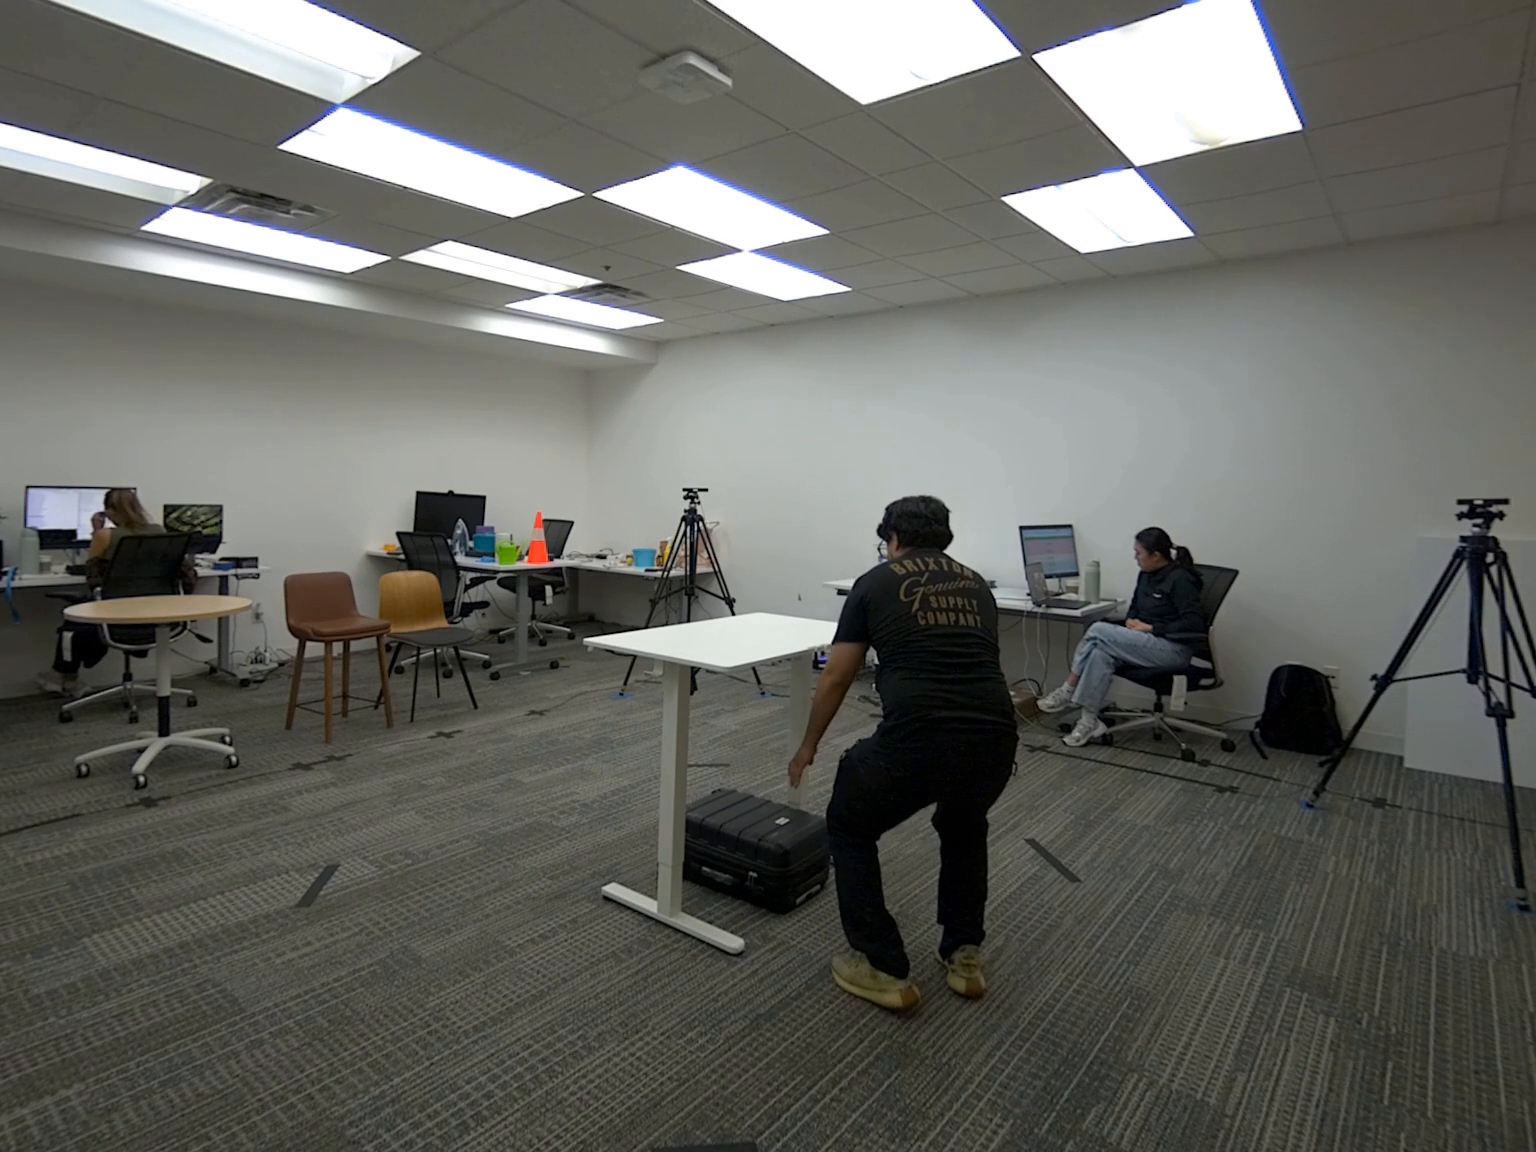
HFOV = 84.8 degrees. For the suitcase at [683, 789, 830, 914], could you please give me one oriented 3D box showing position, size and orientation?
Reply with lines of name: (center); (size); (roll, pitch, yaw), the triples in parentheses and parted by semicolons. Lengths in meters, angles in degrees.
suitcase: (-0.083, 0.962, 3.030); (0.567, 0.248, 0.364); (4, 5, 35)
